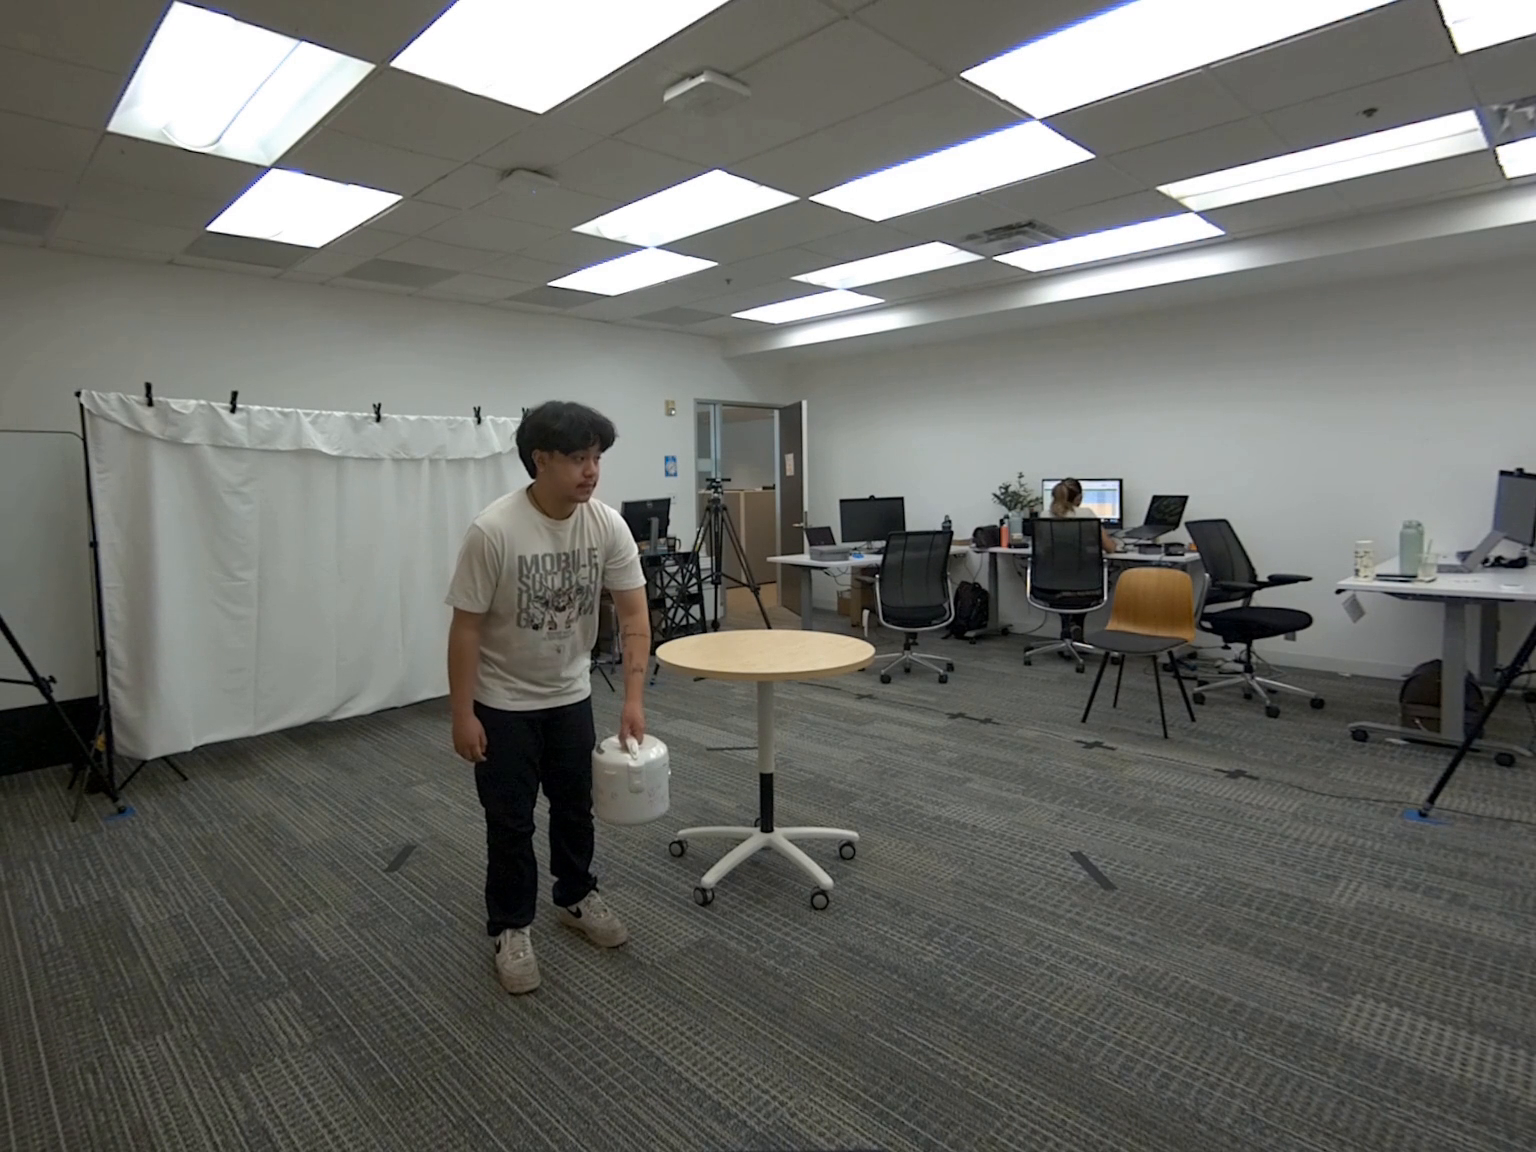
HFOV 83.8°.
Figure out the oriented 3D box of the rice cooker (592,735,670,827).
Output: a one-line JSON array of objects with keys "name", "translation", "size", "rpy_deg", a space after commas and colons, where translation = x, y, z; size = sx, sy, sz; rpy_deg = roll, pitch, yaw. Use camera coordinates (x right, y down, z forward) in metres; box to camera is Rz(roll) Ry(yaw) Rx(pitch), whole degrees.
[{"name": "rice cooker", "translation": [-0.380, 0.549, 2.372], "size": [0.215, 0.231, 0.225], "rpy_deg": [-2, 9, -14]}]
